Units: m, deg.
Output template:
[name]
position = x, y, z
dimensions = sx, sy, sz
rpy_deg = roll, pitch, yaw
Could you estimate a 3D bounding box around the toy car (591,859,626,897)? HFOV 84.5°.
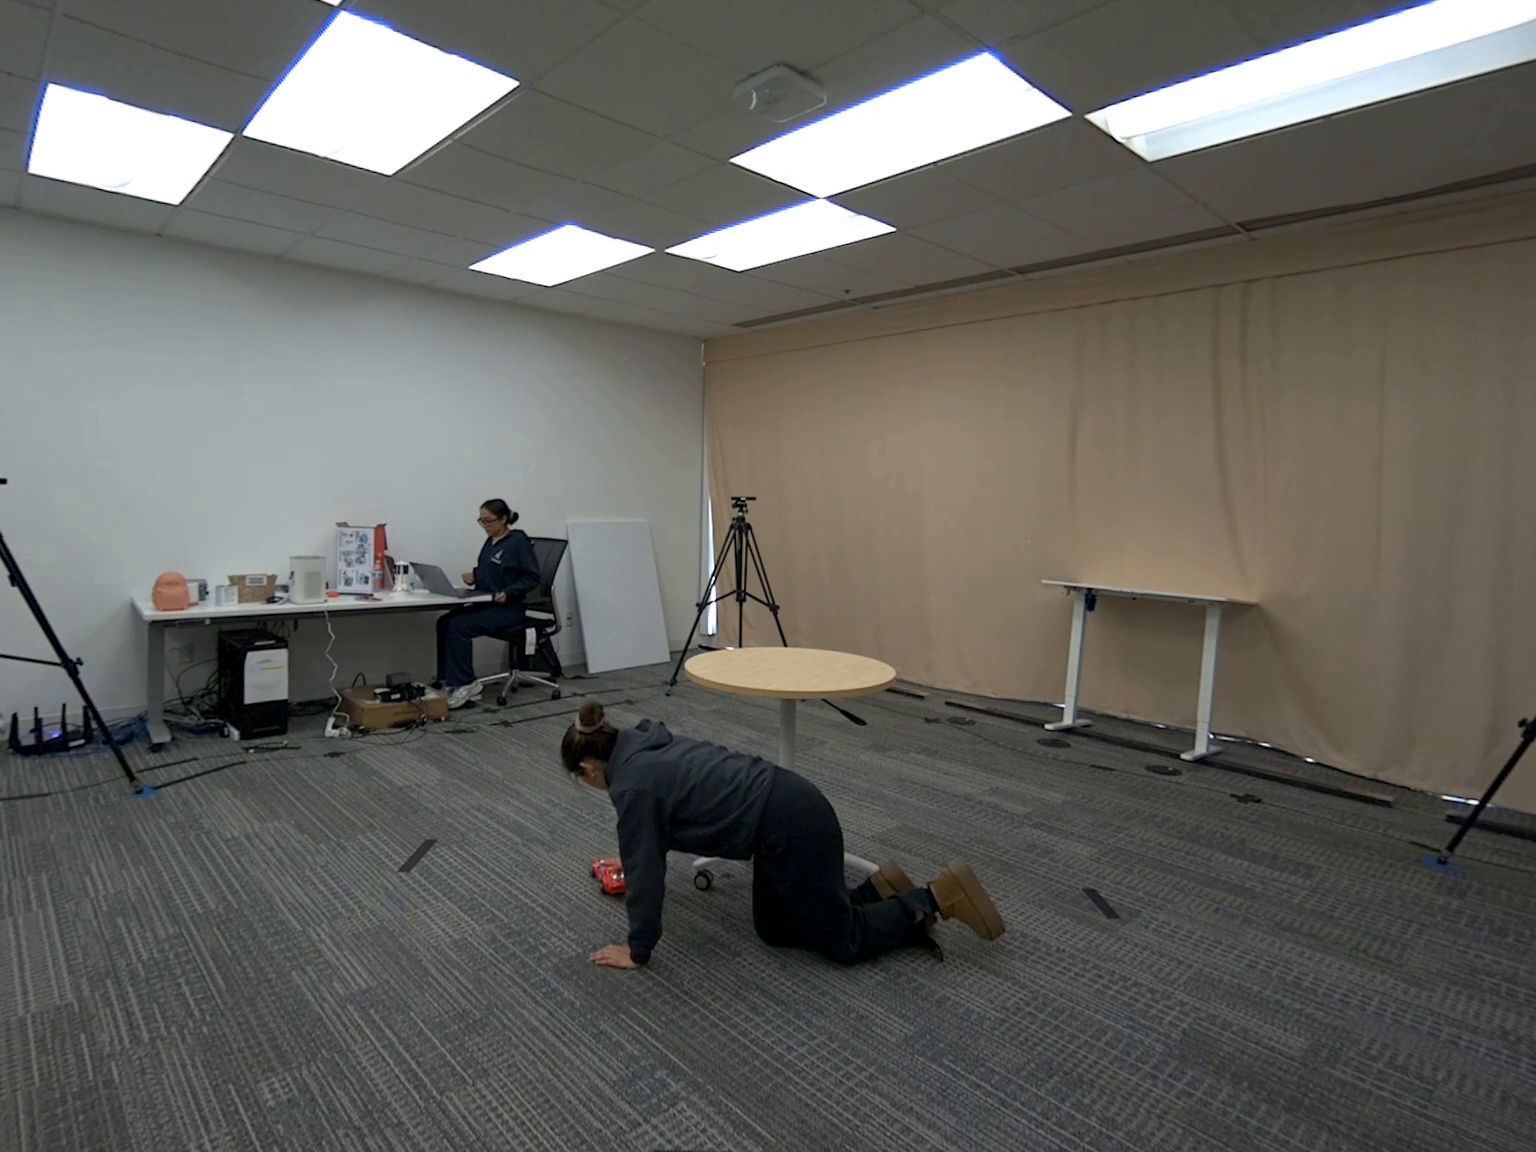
[toy car]
position = -0.561, 1.075, 3.017
dimensions = 0.128, 0.083, 0.258
rpy_deg = -1, -5, -25
